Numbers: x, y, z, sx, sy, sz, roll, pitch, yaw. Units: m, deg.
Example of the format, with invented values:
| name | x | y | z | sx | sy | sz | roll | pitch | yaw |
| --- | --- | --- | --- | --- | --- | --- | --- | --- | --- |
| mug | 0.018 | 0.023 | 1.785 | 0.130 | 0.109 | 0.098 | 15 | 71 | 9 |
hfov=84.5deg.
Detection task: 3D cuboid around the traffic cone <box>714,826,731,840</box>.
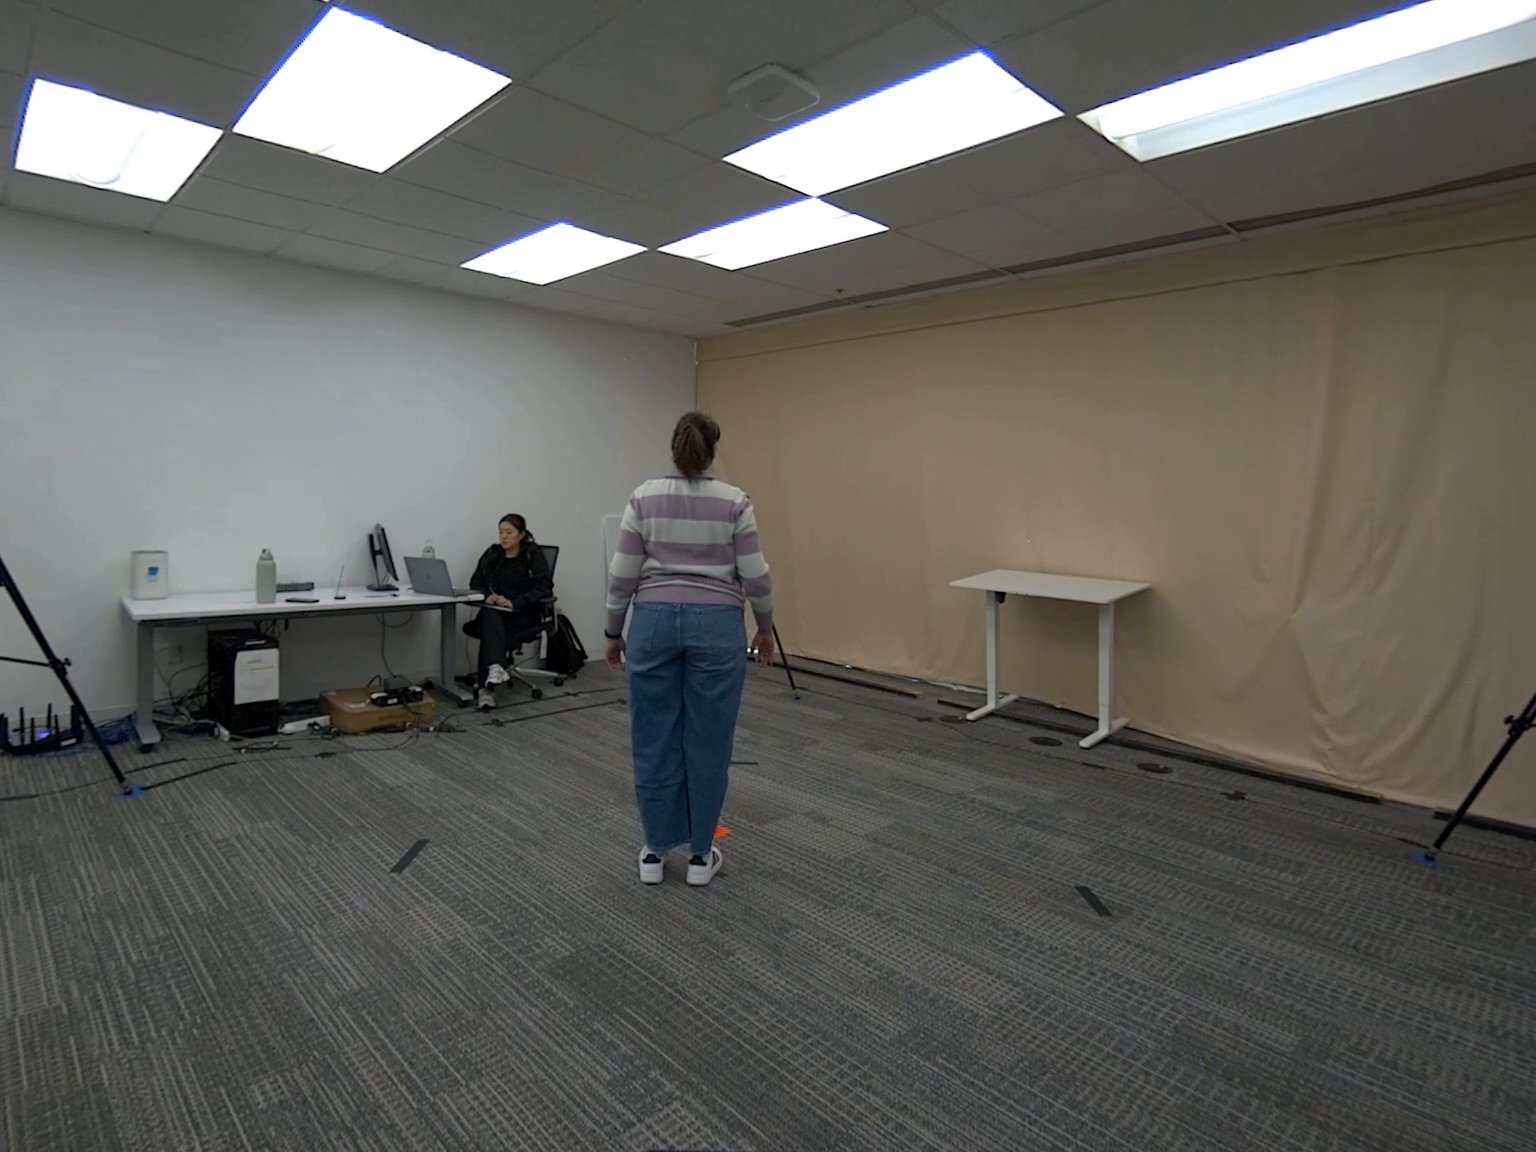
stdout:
| name | x | y | z | sx | sy | sz | roll | pitch | yaw |
| --- | --- | --- | --- | --- | --- | --- | --- | --- | --- |
| traffic cone | -0.290 | 0.883 | 3.505 | 0.210 | 0.383 | 0.199 | 5 | 4 | 42 |
